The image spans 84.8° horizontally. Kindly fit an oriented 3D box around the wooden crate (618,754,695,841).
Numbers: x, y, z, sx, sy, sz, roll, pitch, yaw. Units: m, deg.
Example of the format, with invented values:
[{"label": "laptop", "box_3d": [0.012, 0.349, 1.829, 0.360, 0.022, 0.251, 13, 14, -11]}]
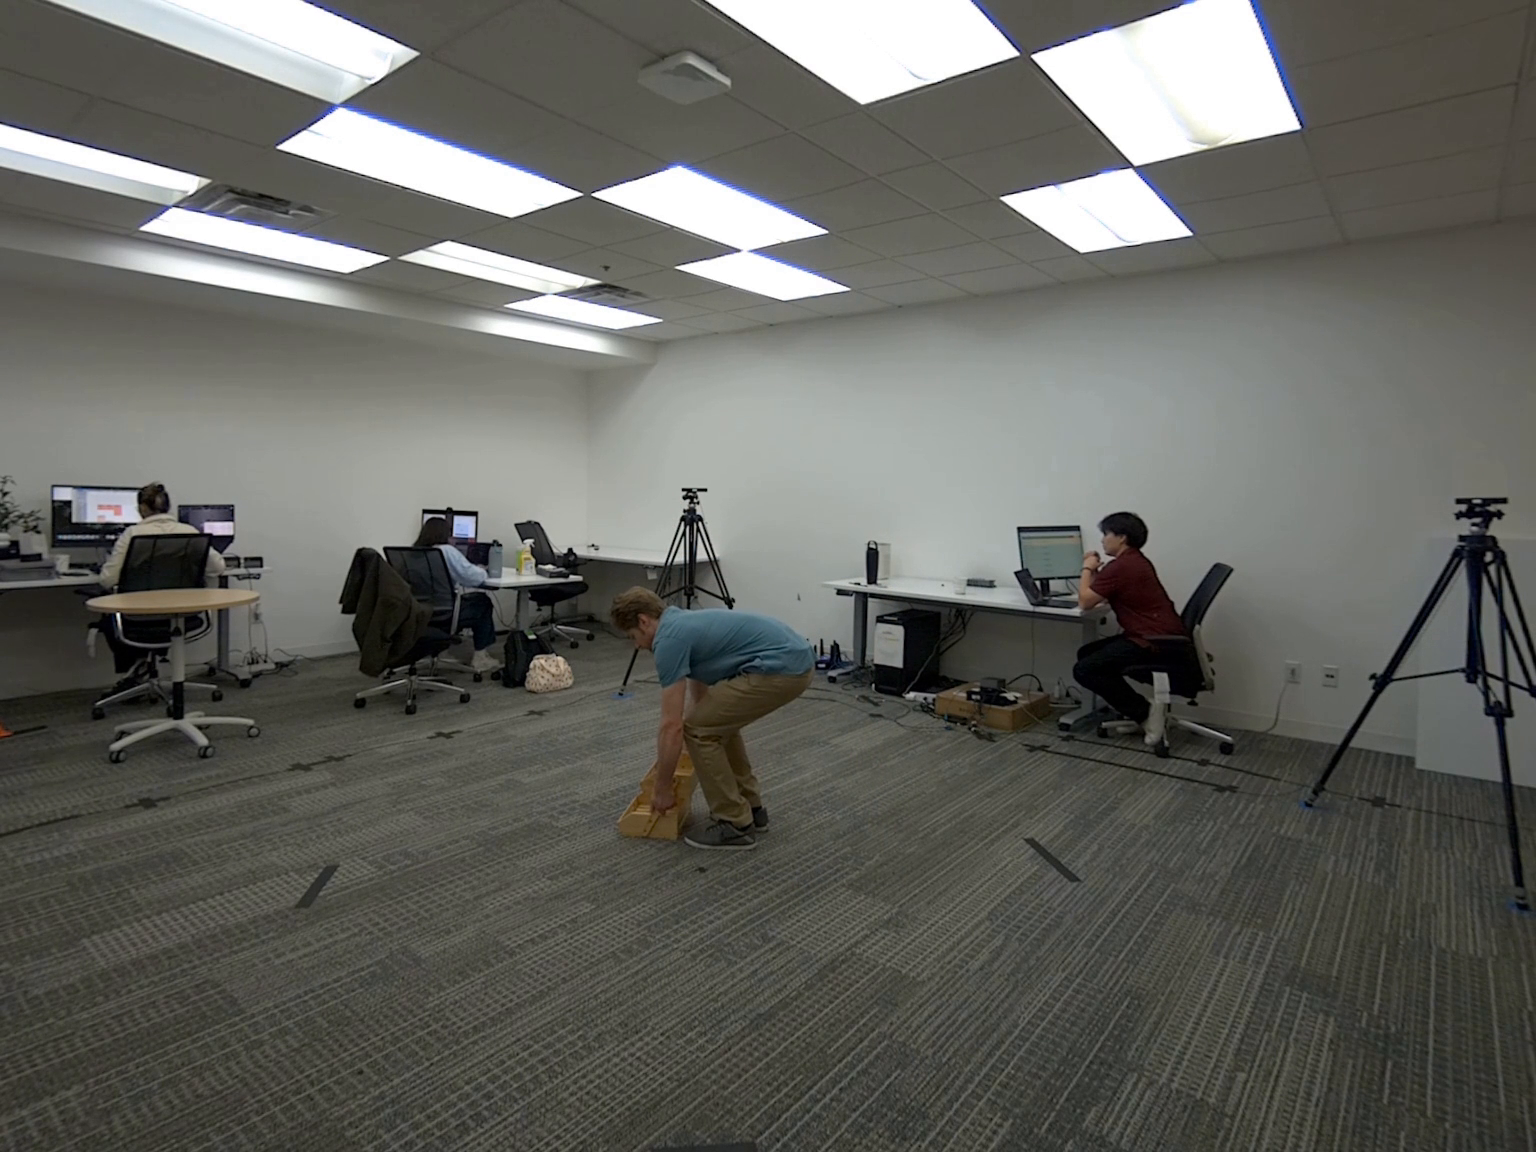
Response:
[{"label": "wooden crate", "box_3d": [-0.458, 0.894, 3.534, 0.305, 0.272, 0.323, 0, 4, 7]}]
